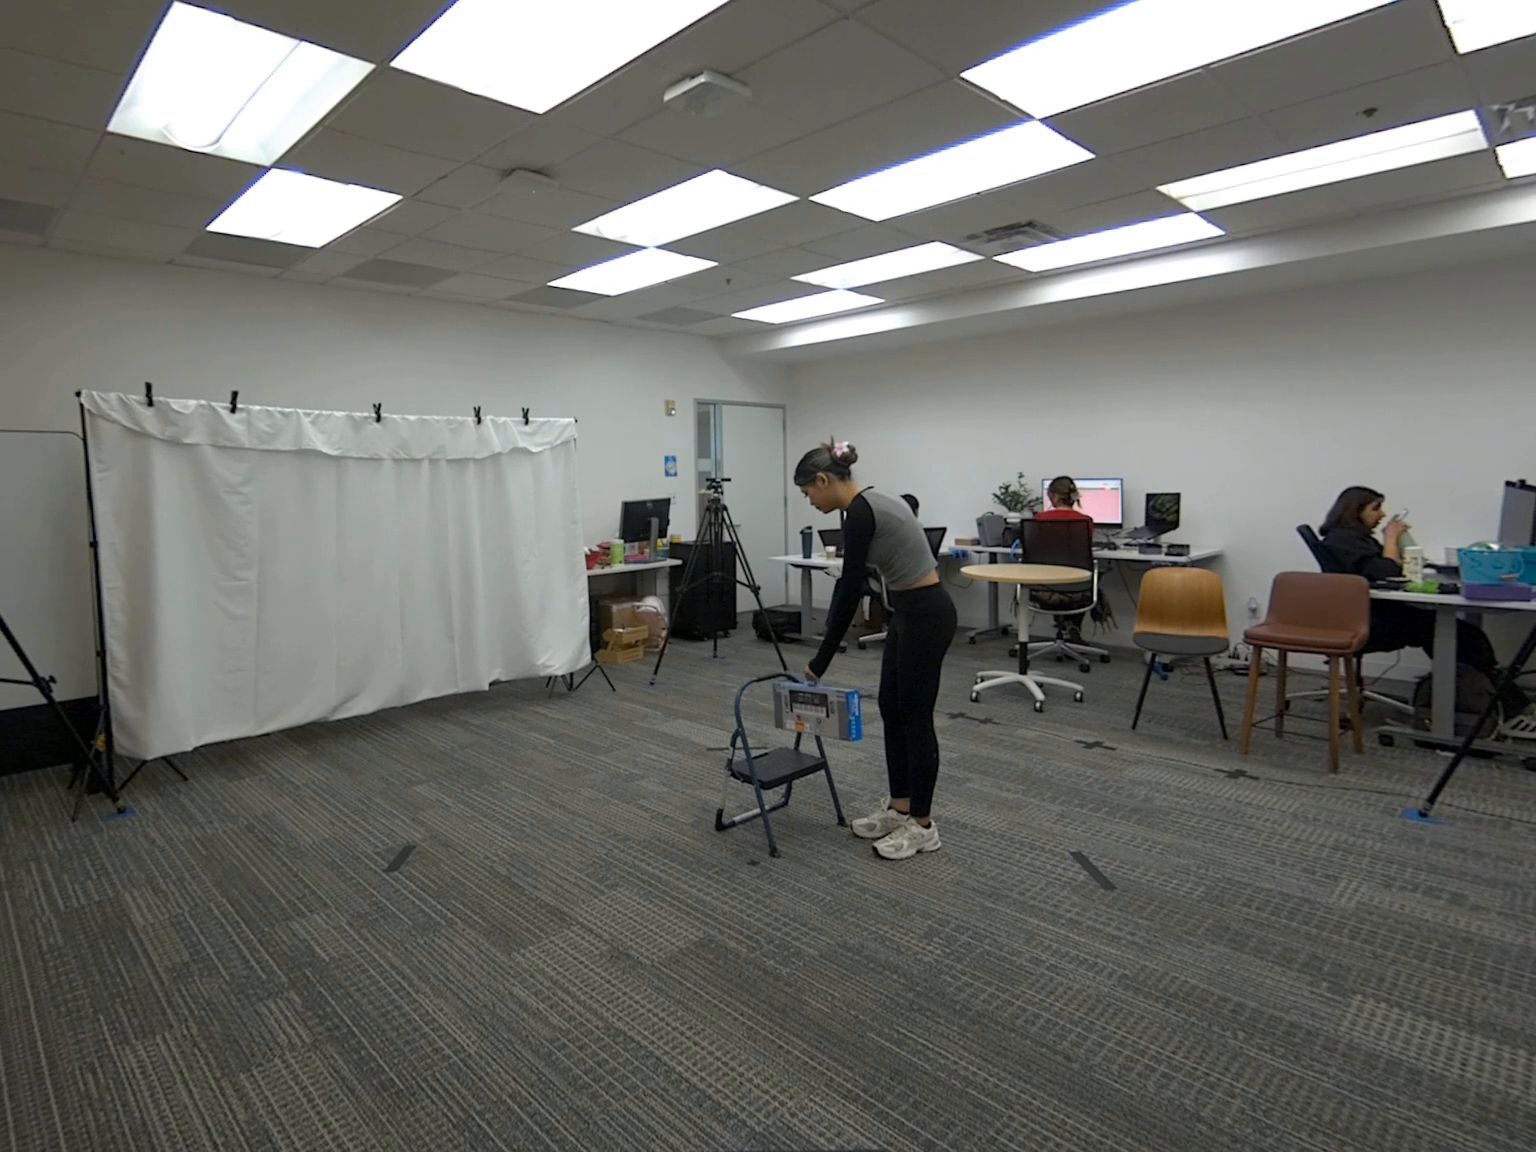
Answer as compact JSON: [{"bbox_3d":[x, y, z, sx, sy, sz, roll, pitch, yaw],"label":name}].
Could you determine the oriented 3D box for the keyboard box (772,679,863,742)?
[{"bbox_3d":[0.178,0.496,3.148,0.057,0.176,0.447,-1,-2,-35],"label":"keyboard box"}]
